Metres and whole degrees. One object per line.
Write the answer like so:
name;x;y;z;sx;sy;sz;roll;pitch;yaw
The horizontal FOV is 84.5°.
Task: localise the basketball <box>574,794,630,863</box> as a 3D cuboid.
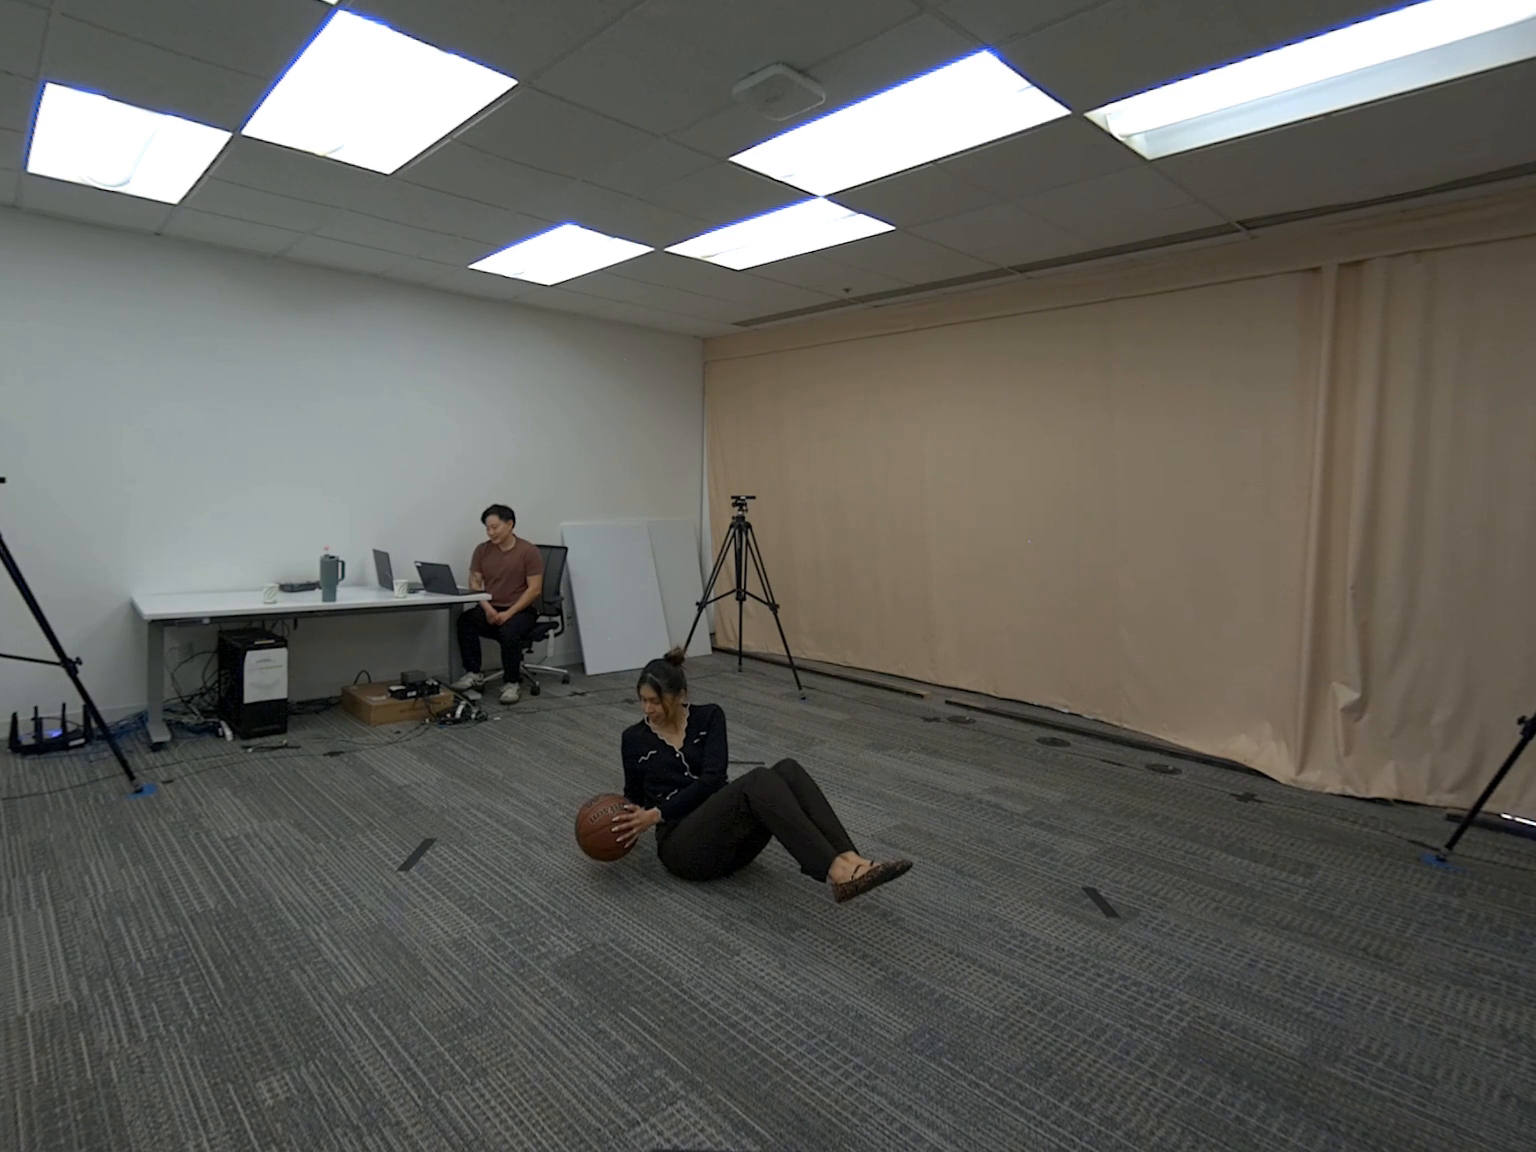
basketball;-0.576;0.883;3.039;0.236;0.235;0.237;1;4;-1
